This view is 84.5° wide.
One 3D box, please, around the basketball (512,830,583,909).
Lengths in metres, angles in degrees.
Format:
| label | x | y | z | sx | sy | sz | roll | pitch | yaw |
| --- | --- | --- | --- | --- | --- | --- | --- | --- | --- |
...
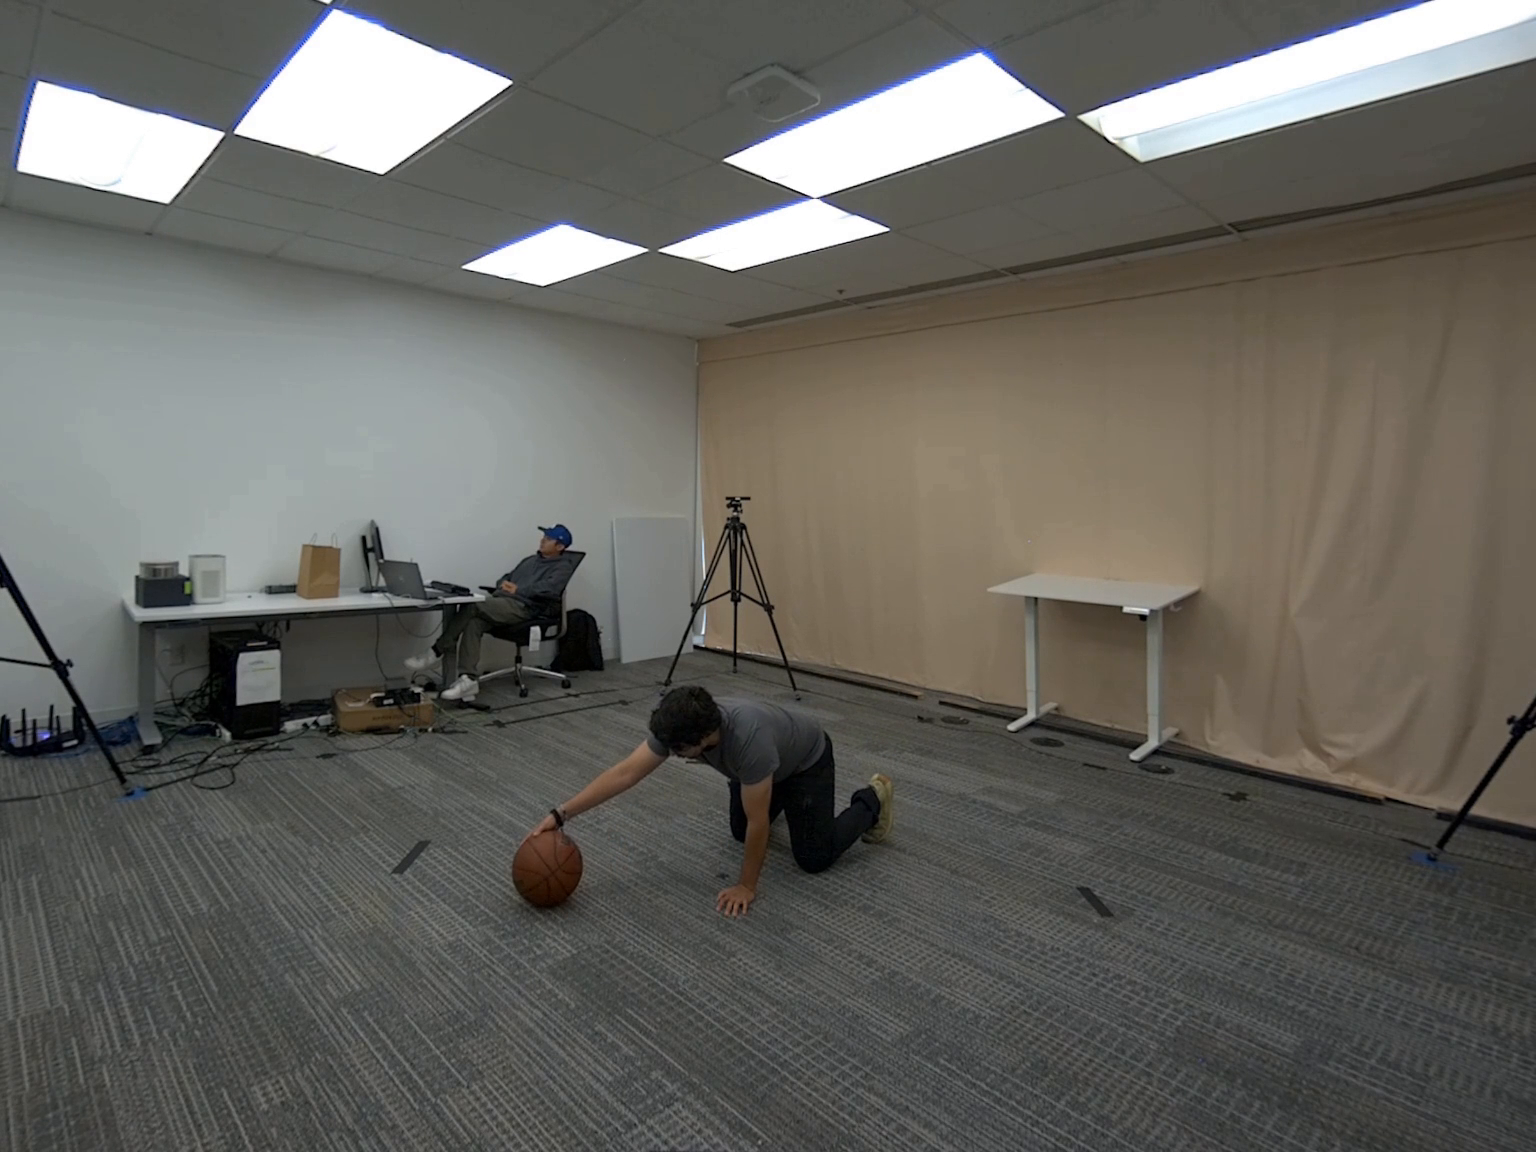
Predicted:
| label | x | y | z | sx | sy | sz | roll | pitch | yaw |
| --- | --- | --- | --- | --- | --- | --- | --- | --- | --- |
| basketball | -0.757 | 0.995 | 2.865 | 0.236 | 0.235 | 0.237 | 1 | 4 | -1 |
